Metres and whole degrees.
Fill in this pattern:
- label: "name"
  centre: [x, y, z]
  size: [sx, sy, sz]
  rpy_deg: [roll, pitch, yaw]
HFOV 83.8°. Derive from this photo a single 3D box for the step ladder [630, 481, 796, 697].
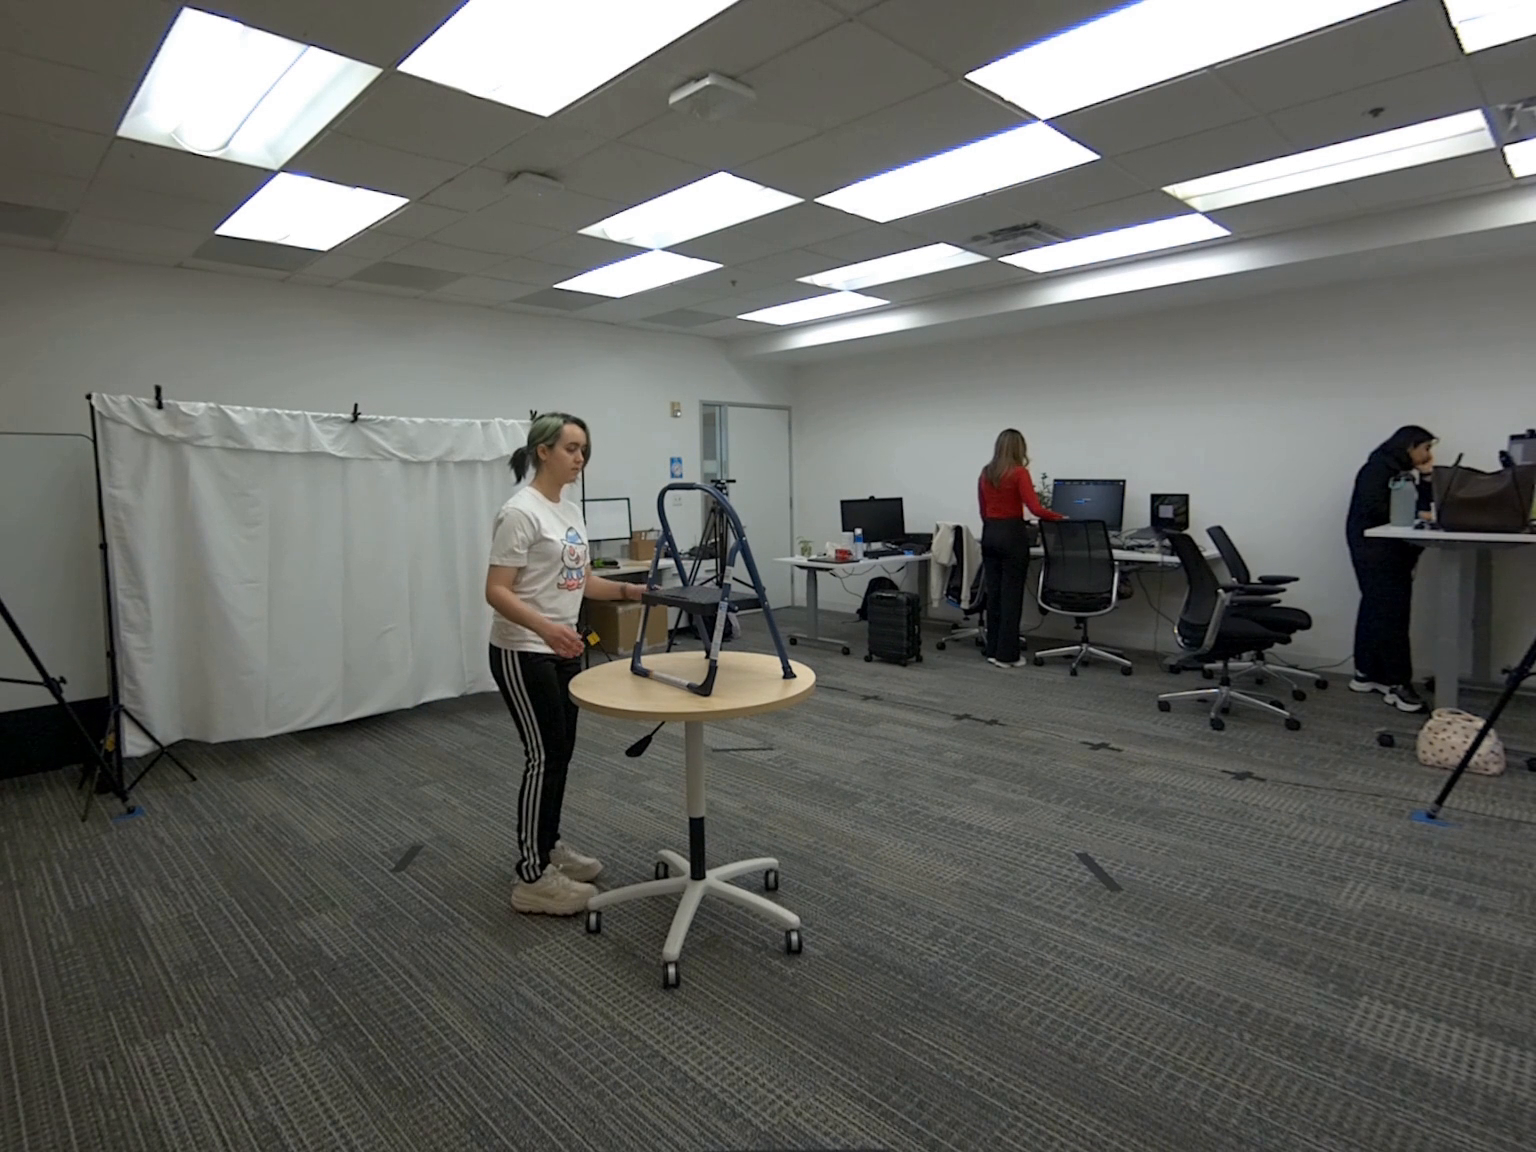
- label: "step ladder"
  centre: [-0.188, 0.014, 2.666]
  size: [0.340, 0.604, 0.444]
  rpy_deg: [-5, 6, -40]
